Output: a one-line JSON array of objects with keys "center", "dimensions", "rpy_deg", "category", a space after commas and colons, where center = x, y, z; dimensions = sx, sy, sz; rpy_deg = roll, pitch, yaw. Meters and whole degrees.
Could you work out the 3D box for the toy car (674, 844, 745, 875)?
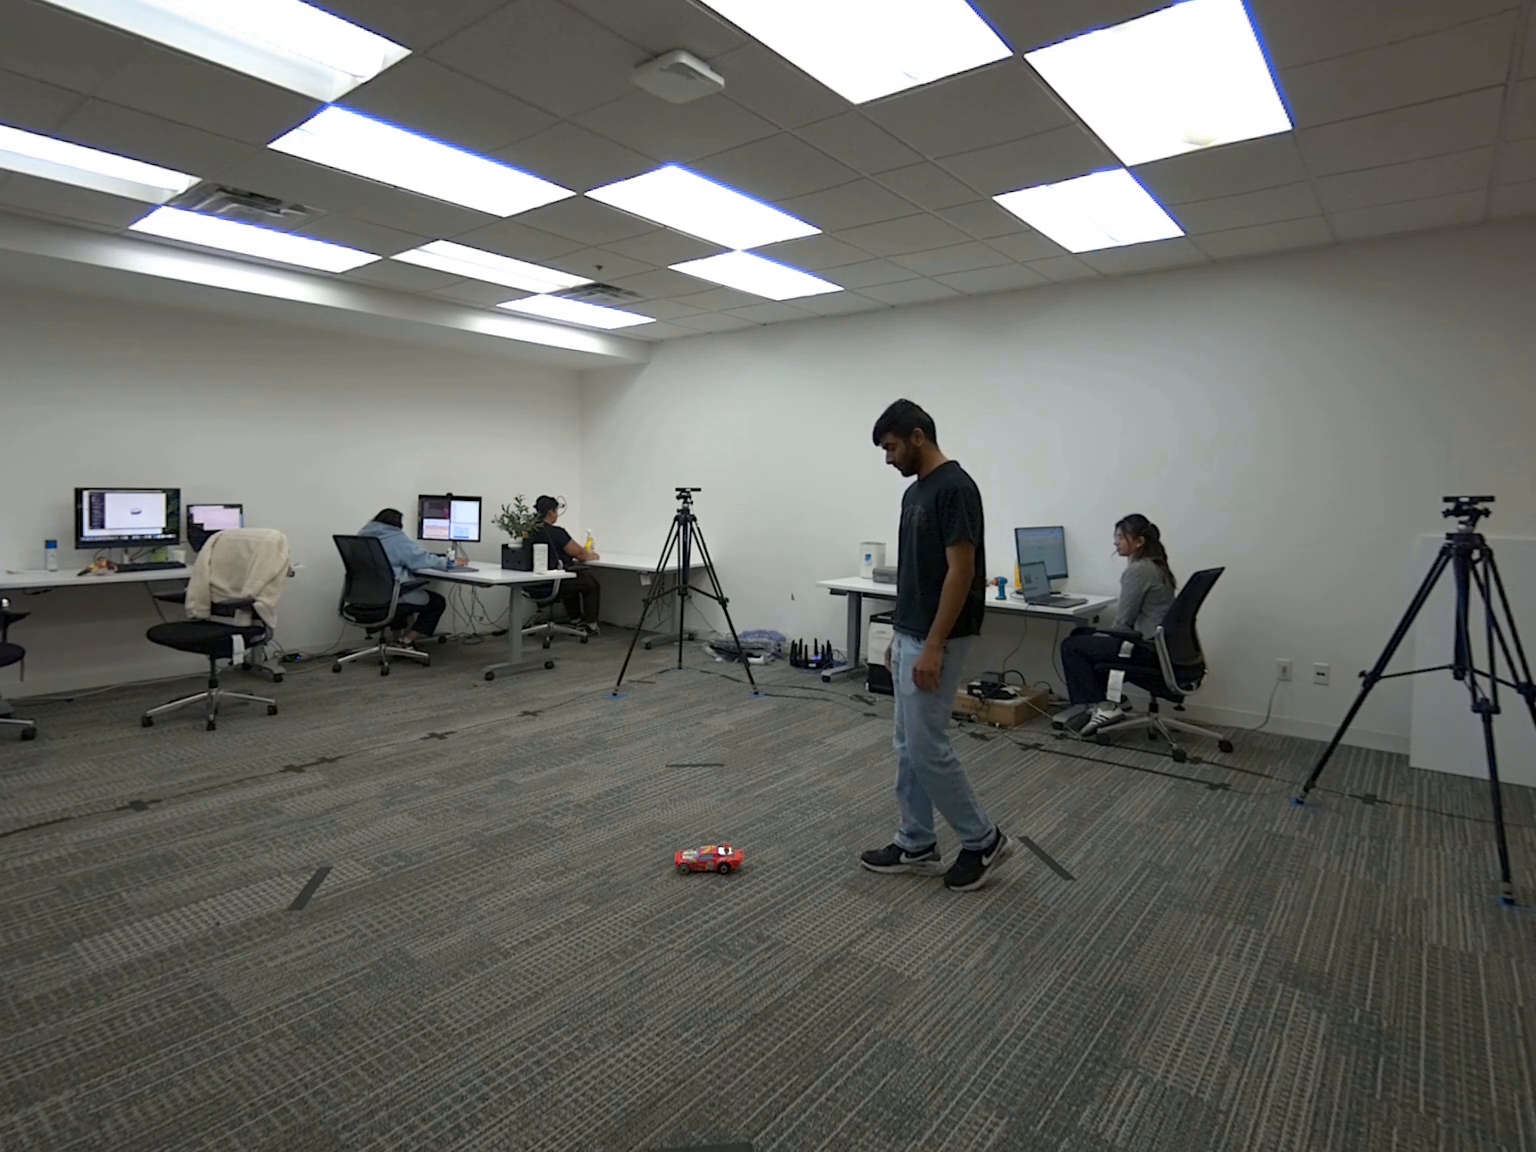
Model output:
[{"center": [-0.222, 1.036, 3.116], "dimensions": [0.254, 0.083, 0.131], "rpy_deg": [-11, 5, -1], "category": "toy car"}]
